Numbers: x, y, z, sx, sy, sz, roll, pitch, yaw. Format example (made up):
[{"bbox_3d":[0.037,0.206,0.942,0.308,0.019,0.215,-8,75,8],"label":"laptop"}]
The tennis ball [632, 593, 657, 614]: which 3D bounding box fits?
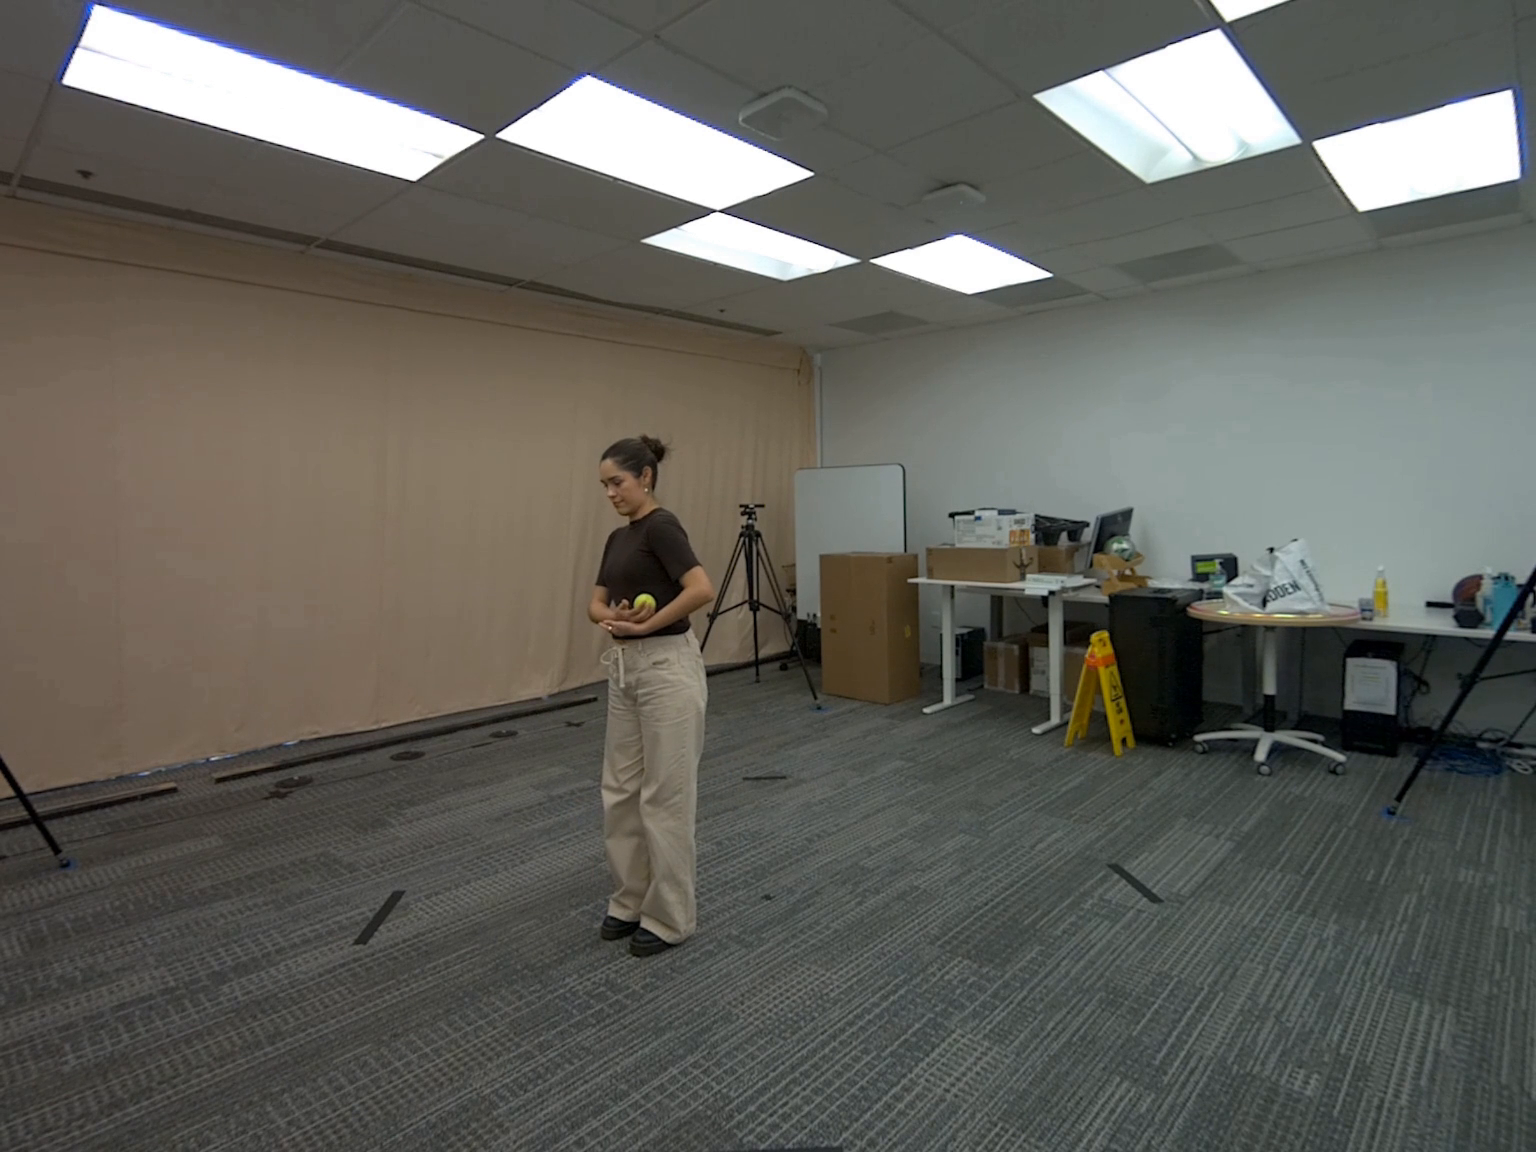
[{"bbox_3d":[-0.382,0.088,2.615,0.066,0.066,0.067,-1,4,-2],"label":"tennis ball"}]
